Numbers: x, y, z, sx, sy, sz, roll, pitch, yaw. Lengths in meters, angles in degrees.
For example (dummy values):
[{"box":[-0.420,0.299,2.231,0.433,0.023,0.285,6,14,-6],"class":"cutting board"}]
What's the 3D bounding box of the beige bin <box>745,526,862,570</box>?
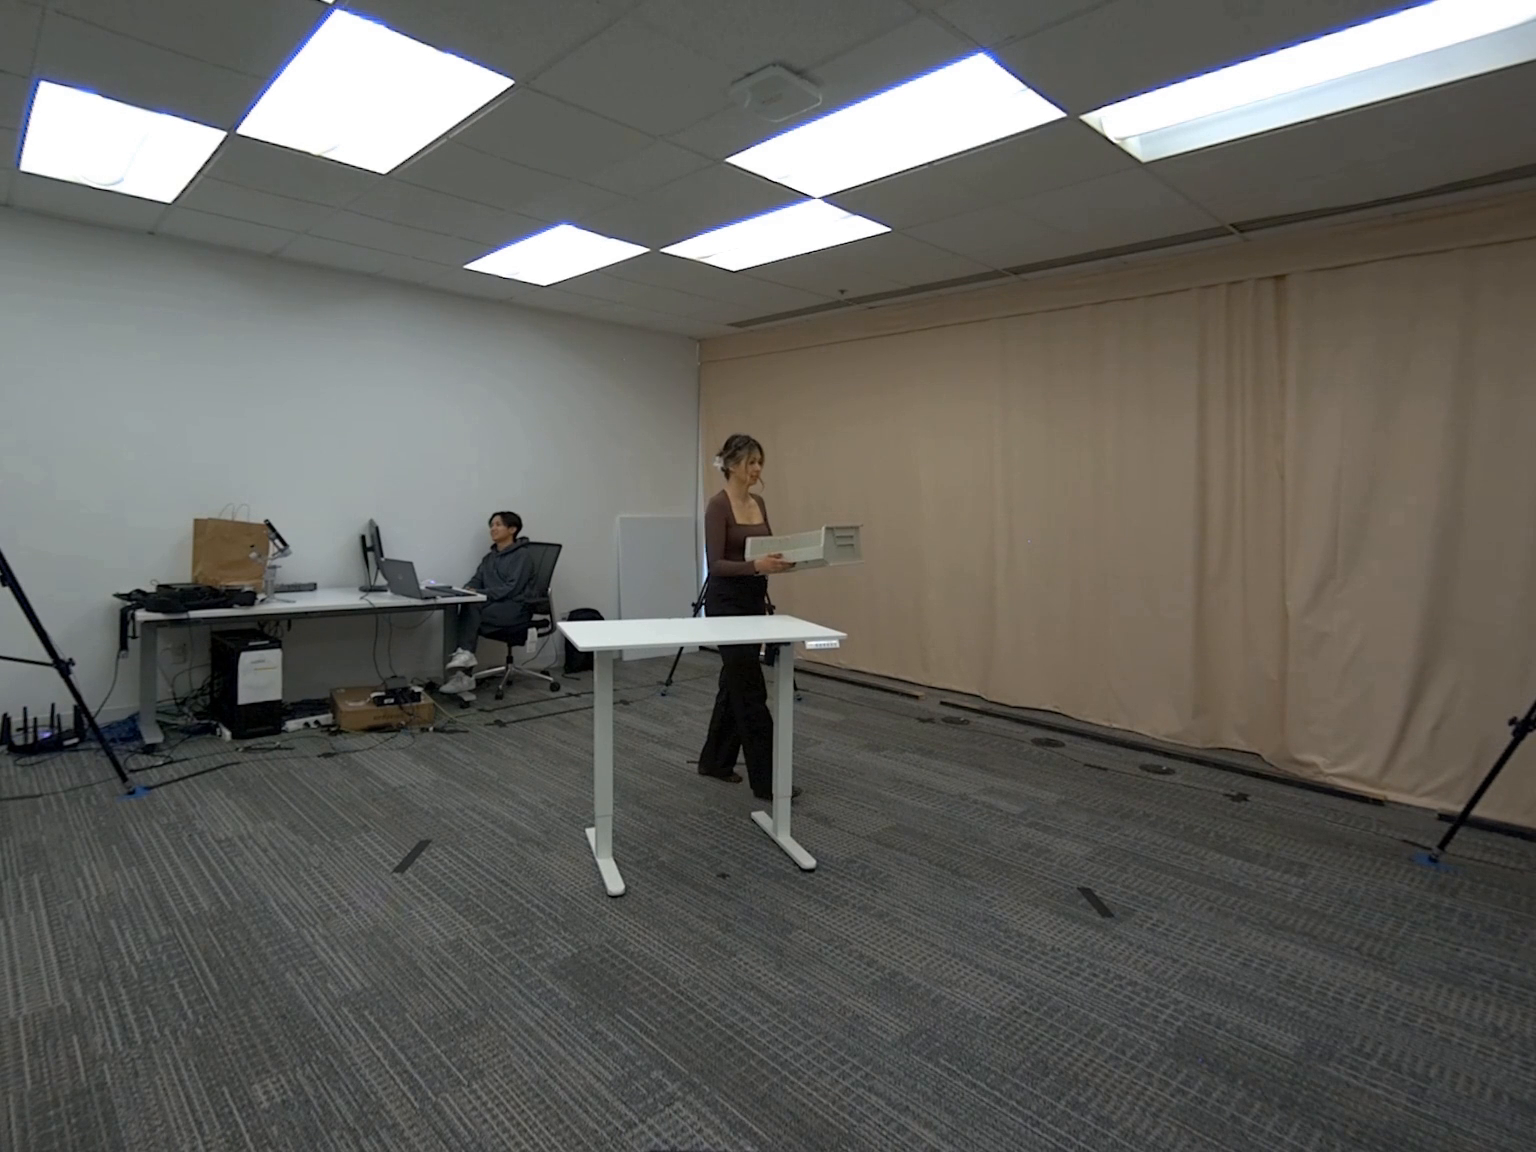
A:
[{"box":[0.165,-0.117,3.848,0.430,0.189,0.369,-8,-3,35],"class":"beige bin"}]
